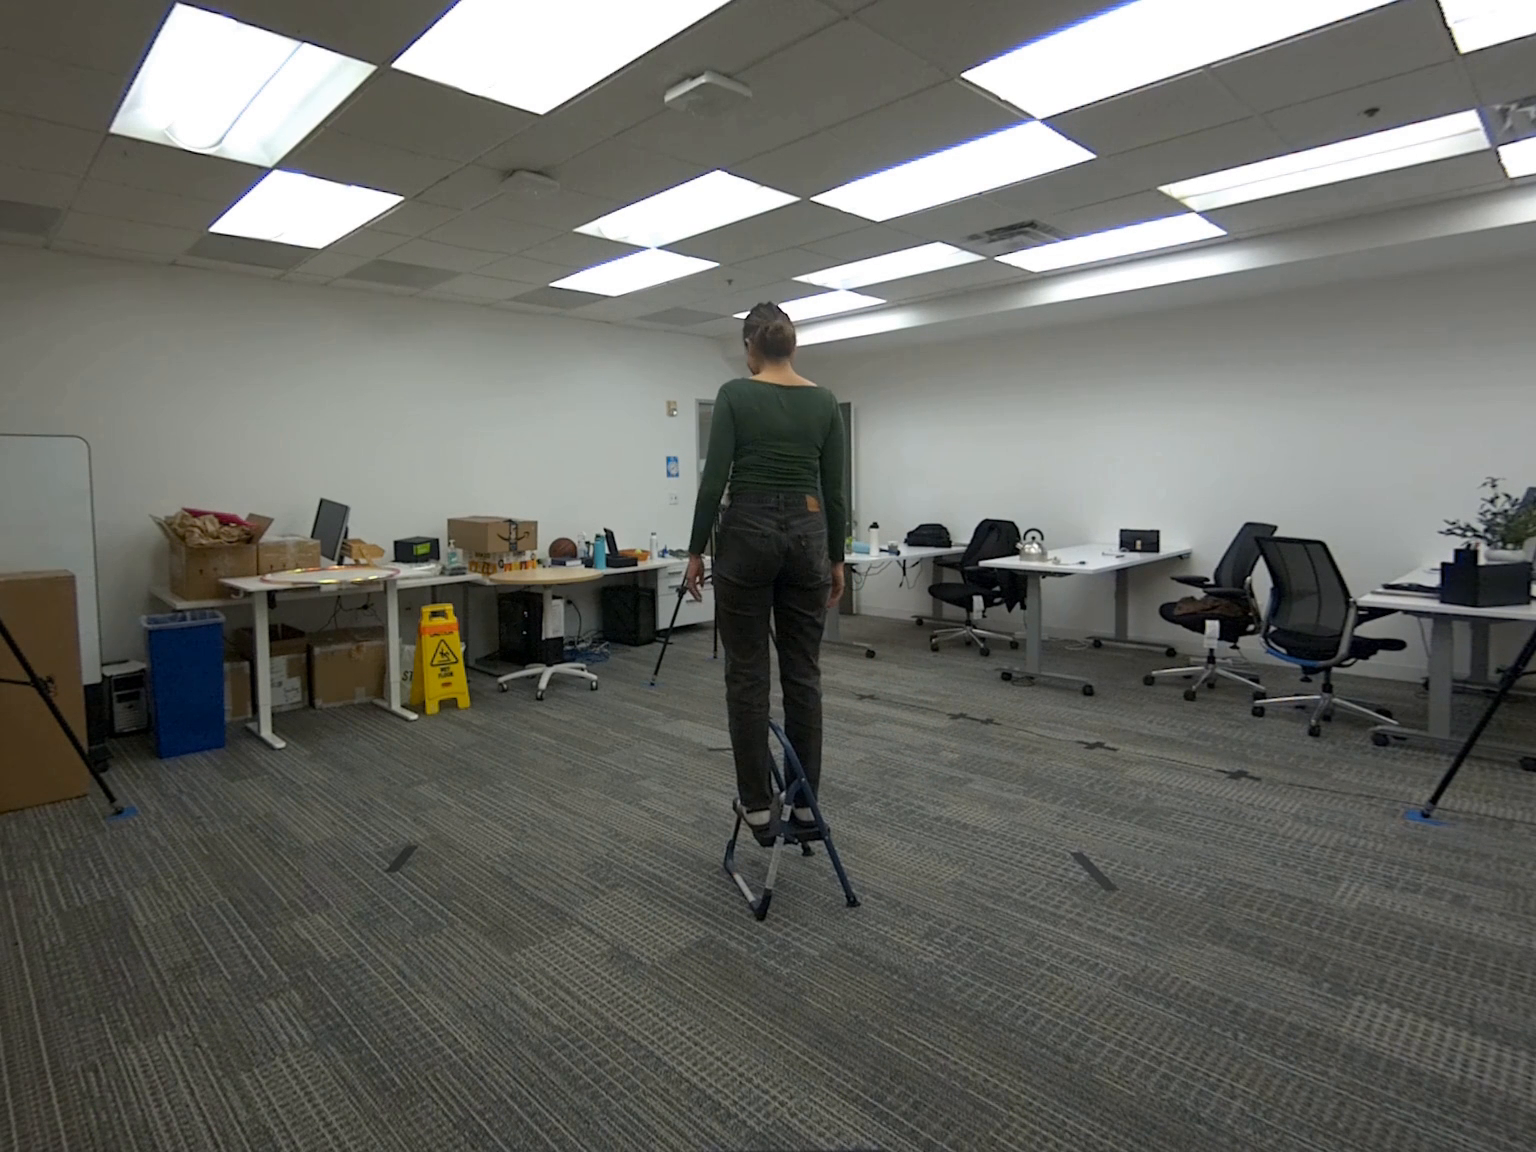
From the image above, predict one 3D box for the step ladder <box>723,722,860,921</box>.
[{"bbox_3d":[0.062,0.760,2.925,0.344,0.604,0.439,-3,4,-18],"label":"step ladder"}]
